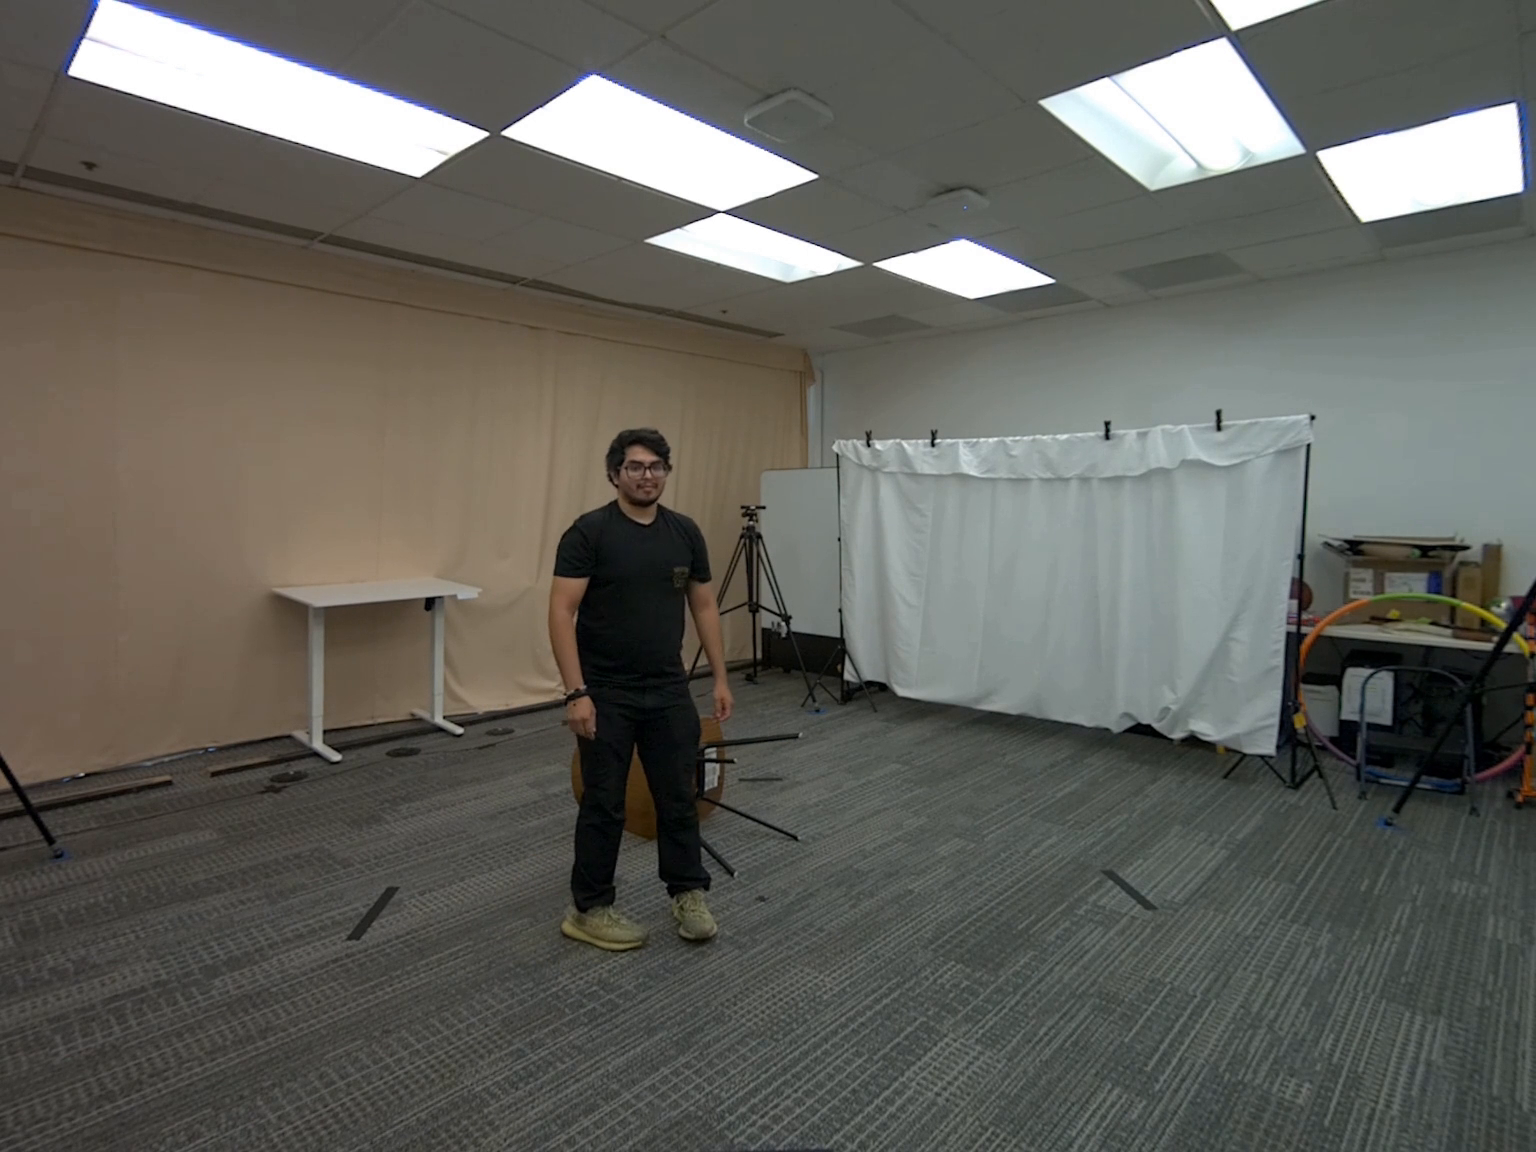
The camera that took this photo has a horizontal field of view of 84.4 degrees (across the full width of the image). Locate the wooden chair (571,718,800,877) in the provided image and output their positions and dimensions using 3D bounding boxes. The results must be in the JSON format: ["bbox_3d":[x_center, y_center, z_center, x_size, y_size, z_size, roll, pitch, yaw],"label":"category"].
[{"bbox_3d":[-0.341,0.867,3.580,0.904,0.477,0.509,3,5,33],"label":"wooden chair"}]
